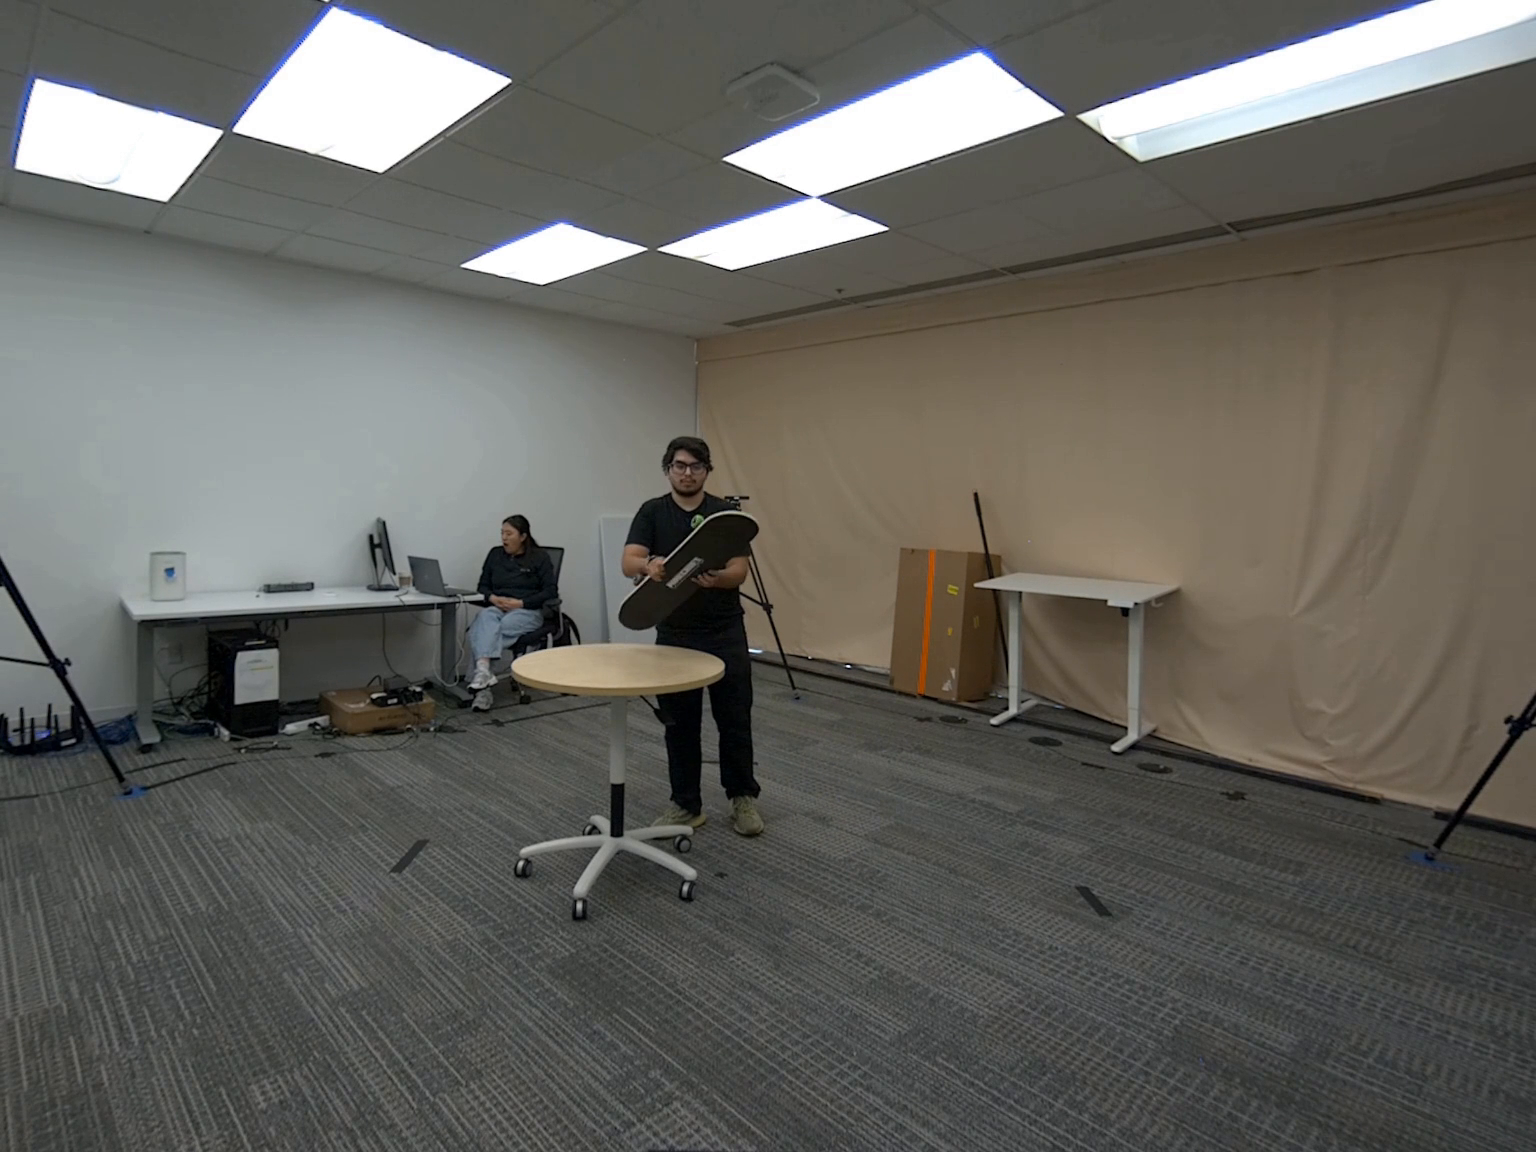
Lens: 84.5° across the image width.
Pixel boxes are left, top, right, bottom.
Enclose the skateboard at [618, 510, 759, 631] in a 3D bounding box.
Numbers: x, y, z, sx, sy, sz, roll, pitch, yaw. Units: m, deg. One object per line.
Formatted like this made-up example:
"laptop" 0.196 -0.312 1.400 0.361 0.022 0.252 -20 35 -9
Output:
"skateboard" -0.317 -0.028 3.113 0.188 0.113 0.787 23 -46 -29
